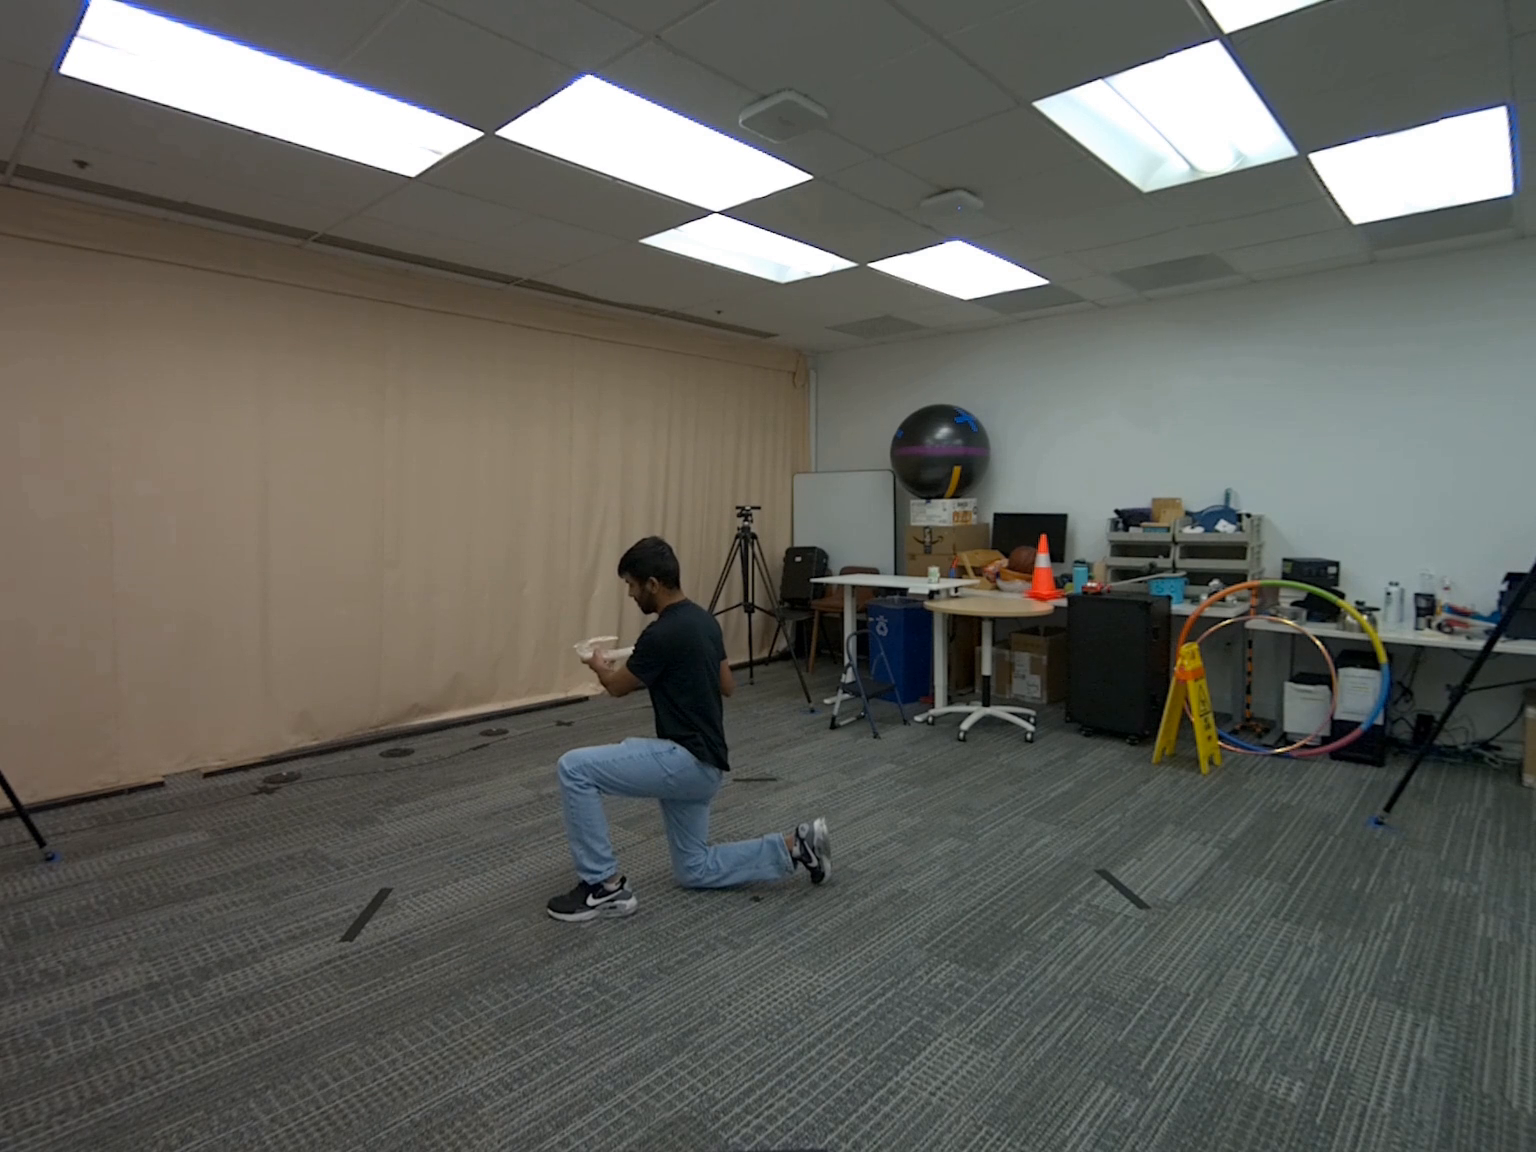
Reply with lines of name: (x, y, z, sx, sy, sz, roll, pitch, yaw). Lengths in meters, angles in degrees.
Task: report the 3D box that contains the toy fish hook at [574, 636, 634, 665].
toy fish hook: (-0.570, 0.286, 3.464, 0.495, 0.048, 0.232, -4, 22, -25)
